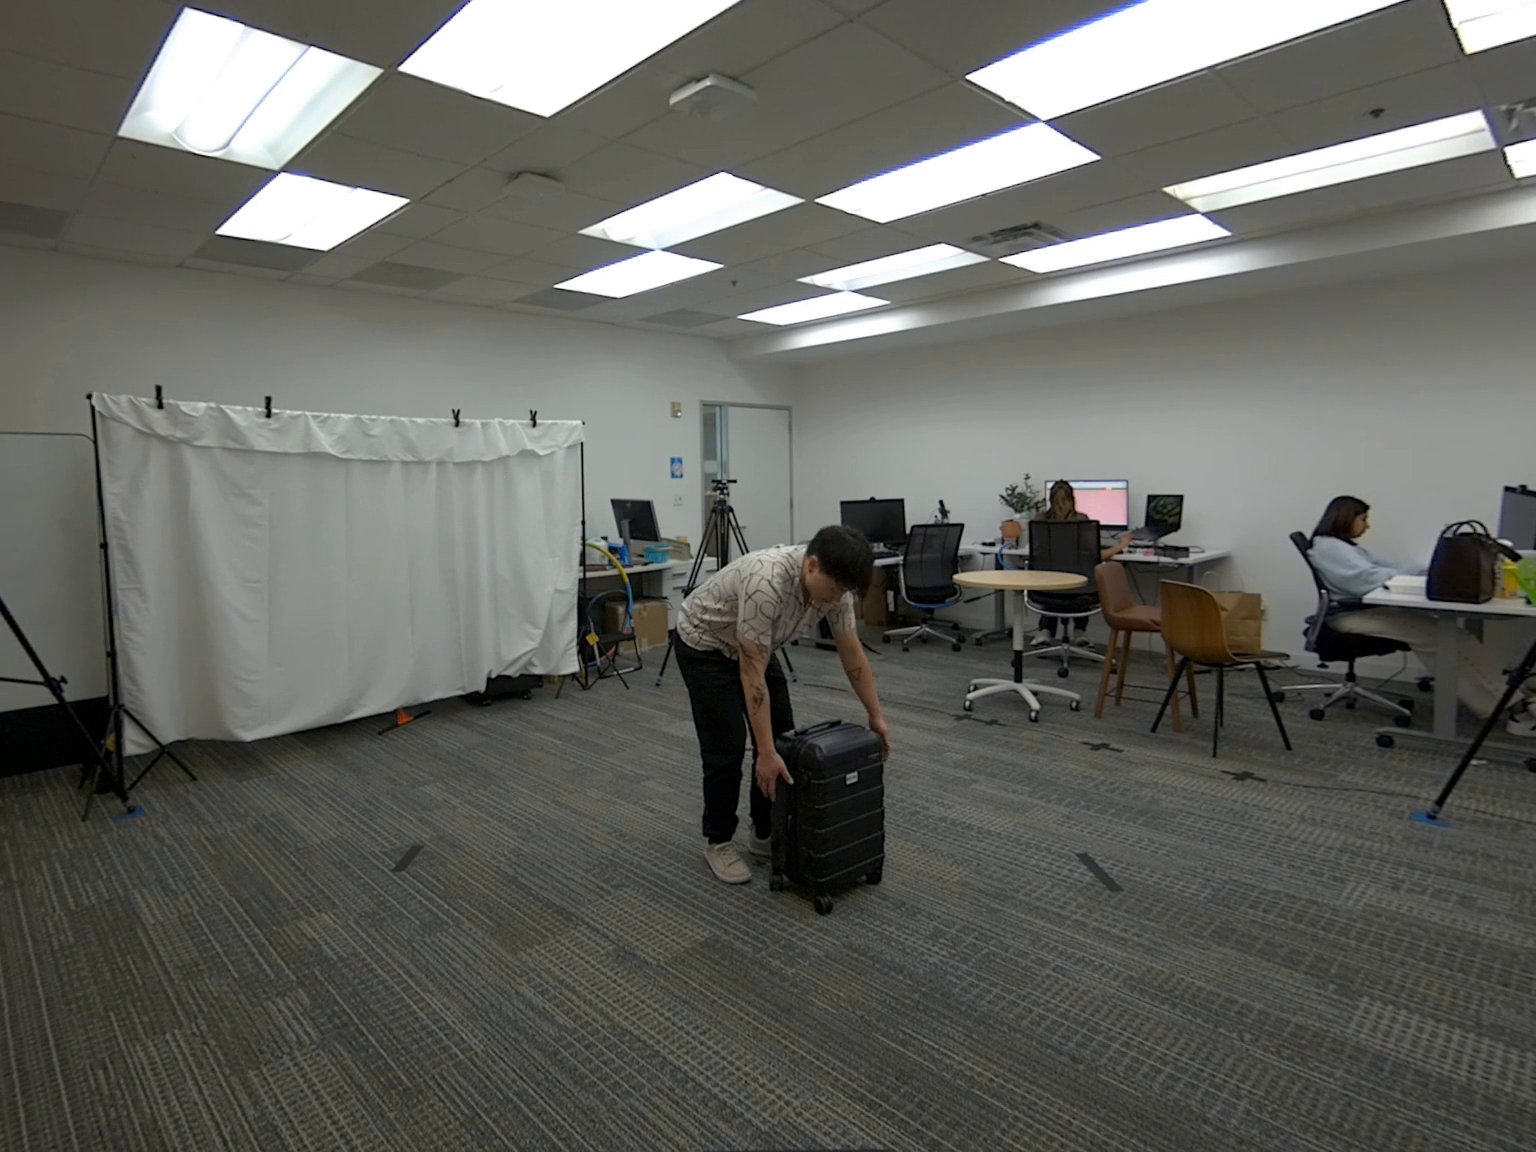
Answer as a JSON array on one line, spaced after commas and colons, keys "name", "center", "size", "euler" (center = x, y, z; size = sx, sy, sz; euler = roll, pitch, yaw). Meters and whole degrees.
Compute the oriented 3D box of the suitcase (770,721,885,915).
[{"name": "suitcase", "center": [0.209, 0.787, 2.926], "size": [0.365, 0.548, 0.256], "euler": [-3, 5, -40]}]
